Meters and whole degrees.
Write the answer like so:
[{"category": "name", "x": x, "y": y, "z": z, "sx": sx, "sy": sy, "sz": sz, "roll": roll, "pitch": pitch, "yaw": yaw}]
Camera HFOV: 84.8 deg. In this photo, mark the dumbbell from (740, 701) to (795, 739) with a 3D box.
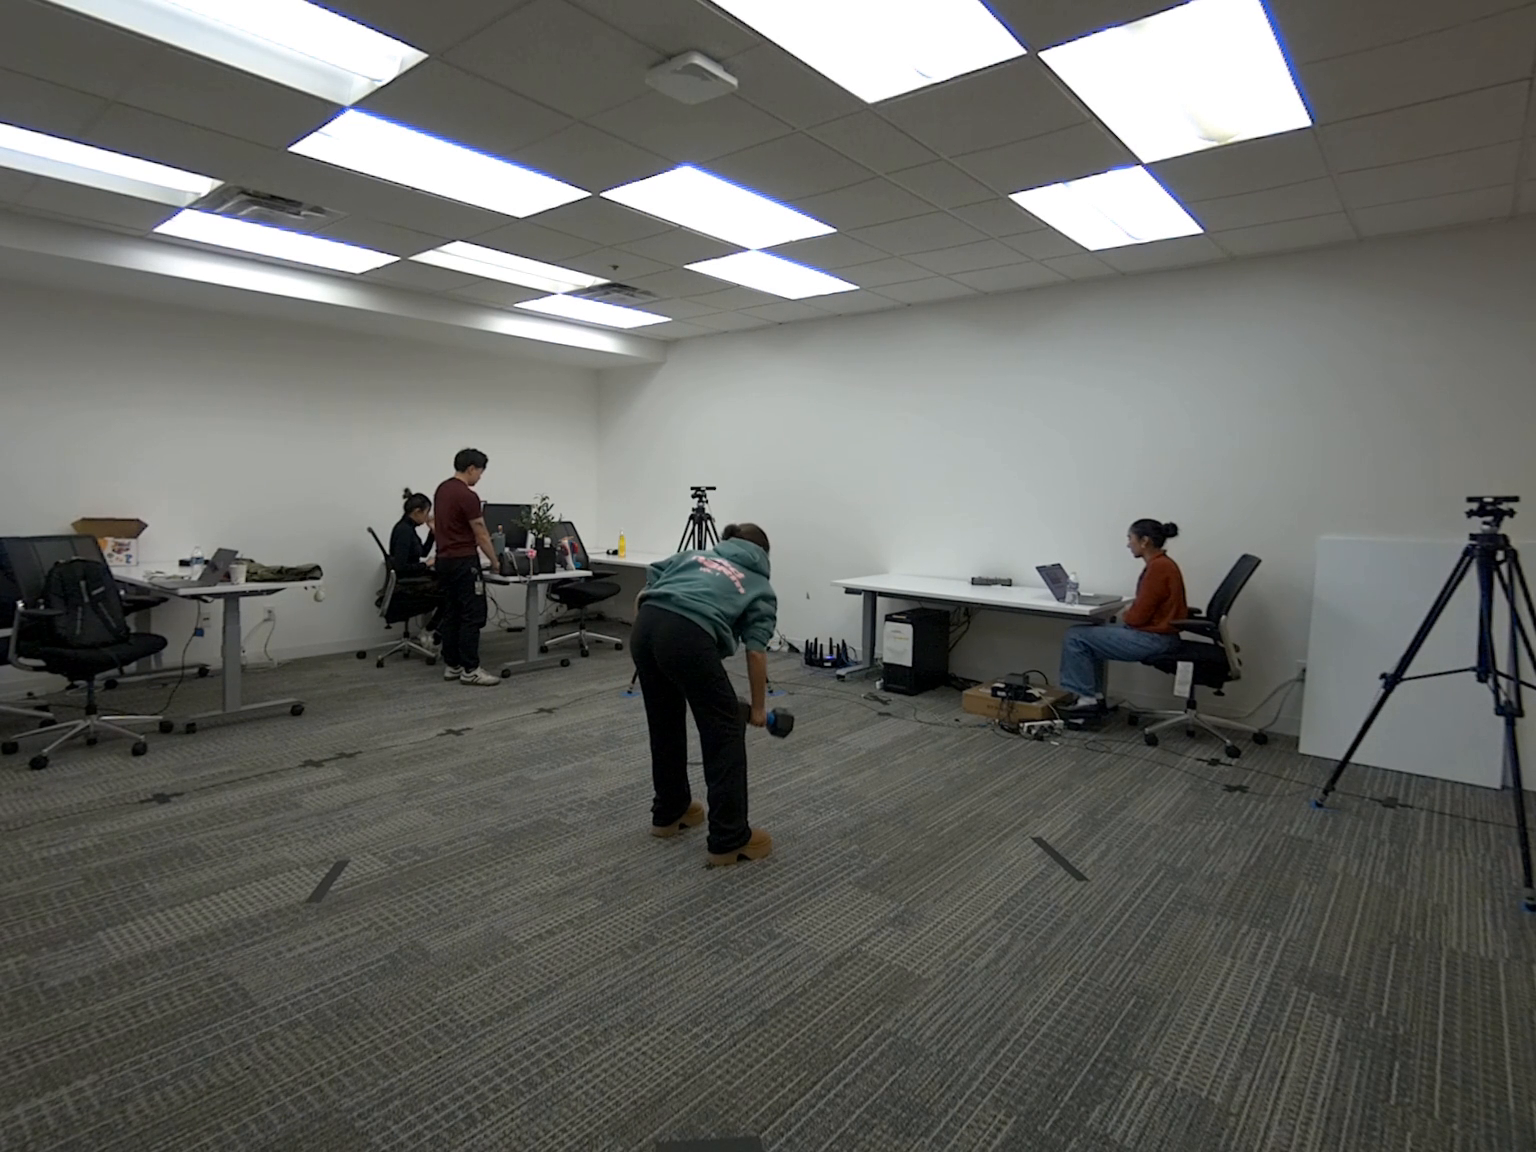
[{"category": "dumbbell", "x": -0.047, "y": 0.573, "z": 3.480, "sx": 0.285, "sy": 0.108, "sz": 0.127, "roll": 15, "pitch": 12, "yaw": -24}]
